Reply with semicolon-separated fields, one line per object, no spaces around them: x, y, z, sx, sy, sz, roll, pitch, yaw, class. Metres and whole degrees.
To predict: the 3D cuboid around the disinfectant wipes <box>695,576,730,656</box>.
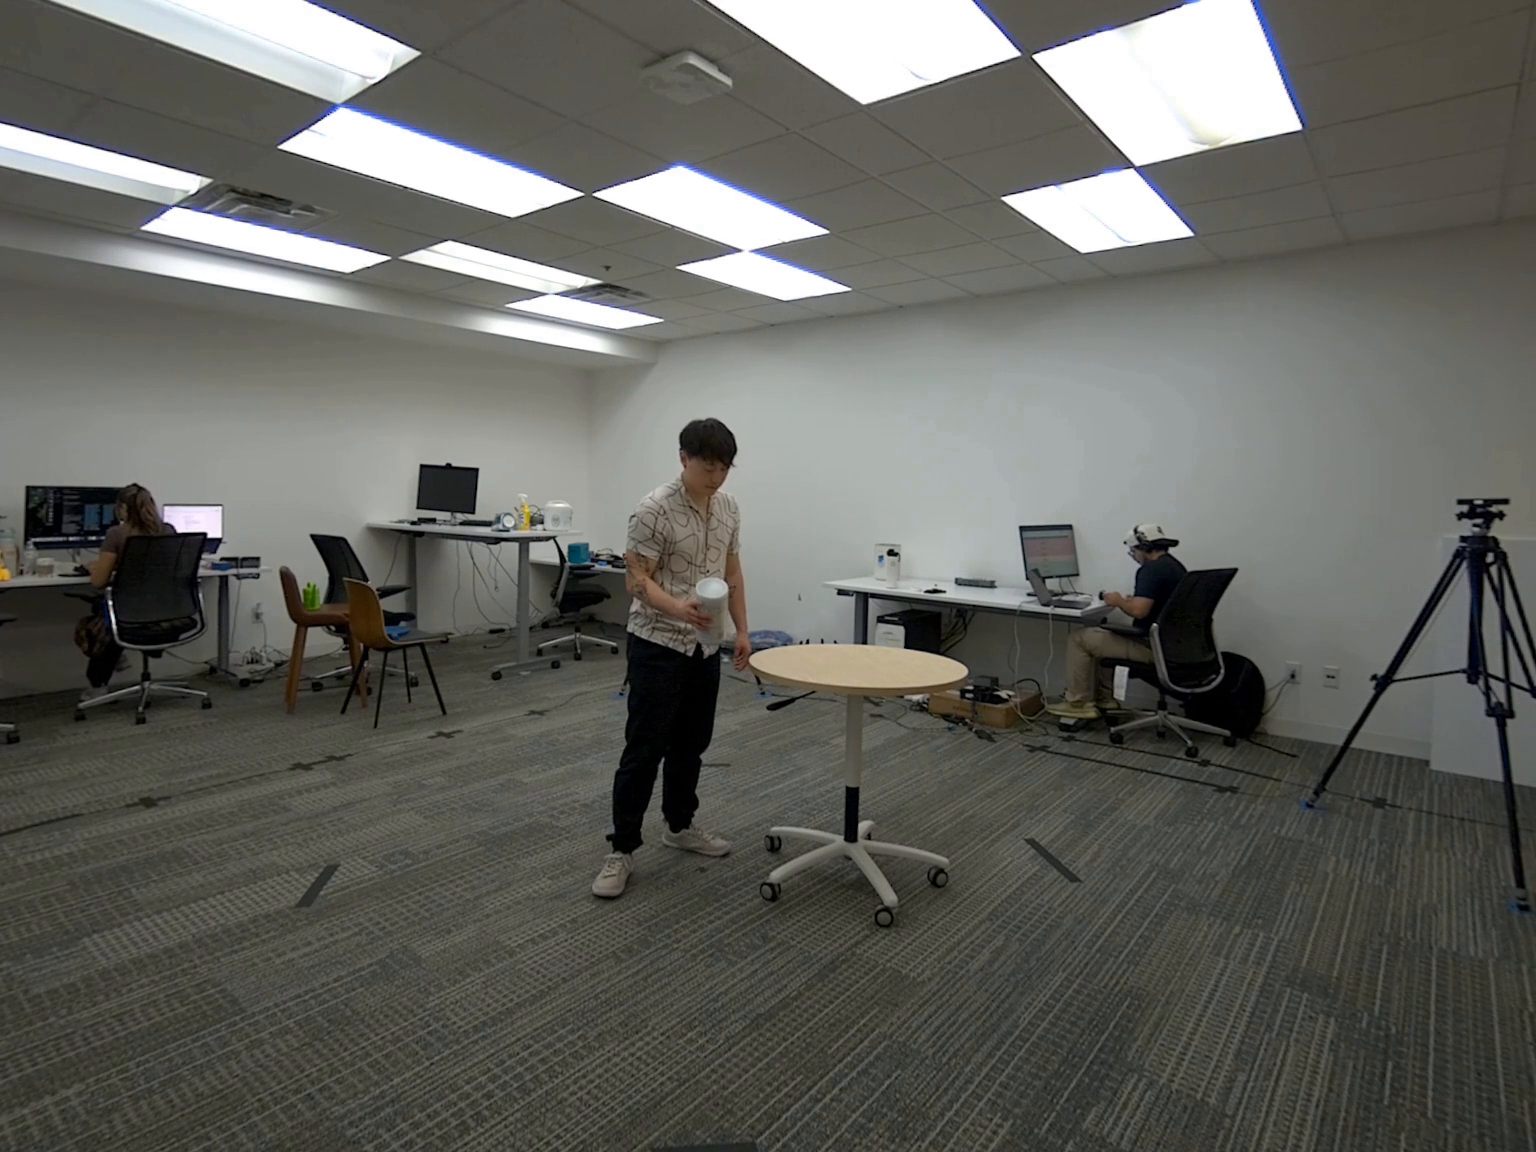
-0.193;0.120;2.826;0.117;0.212;0.121;3;38;-4;disinfectant wipes
